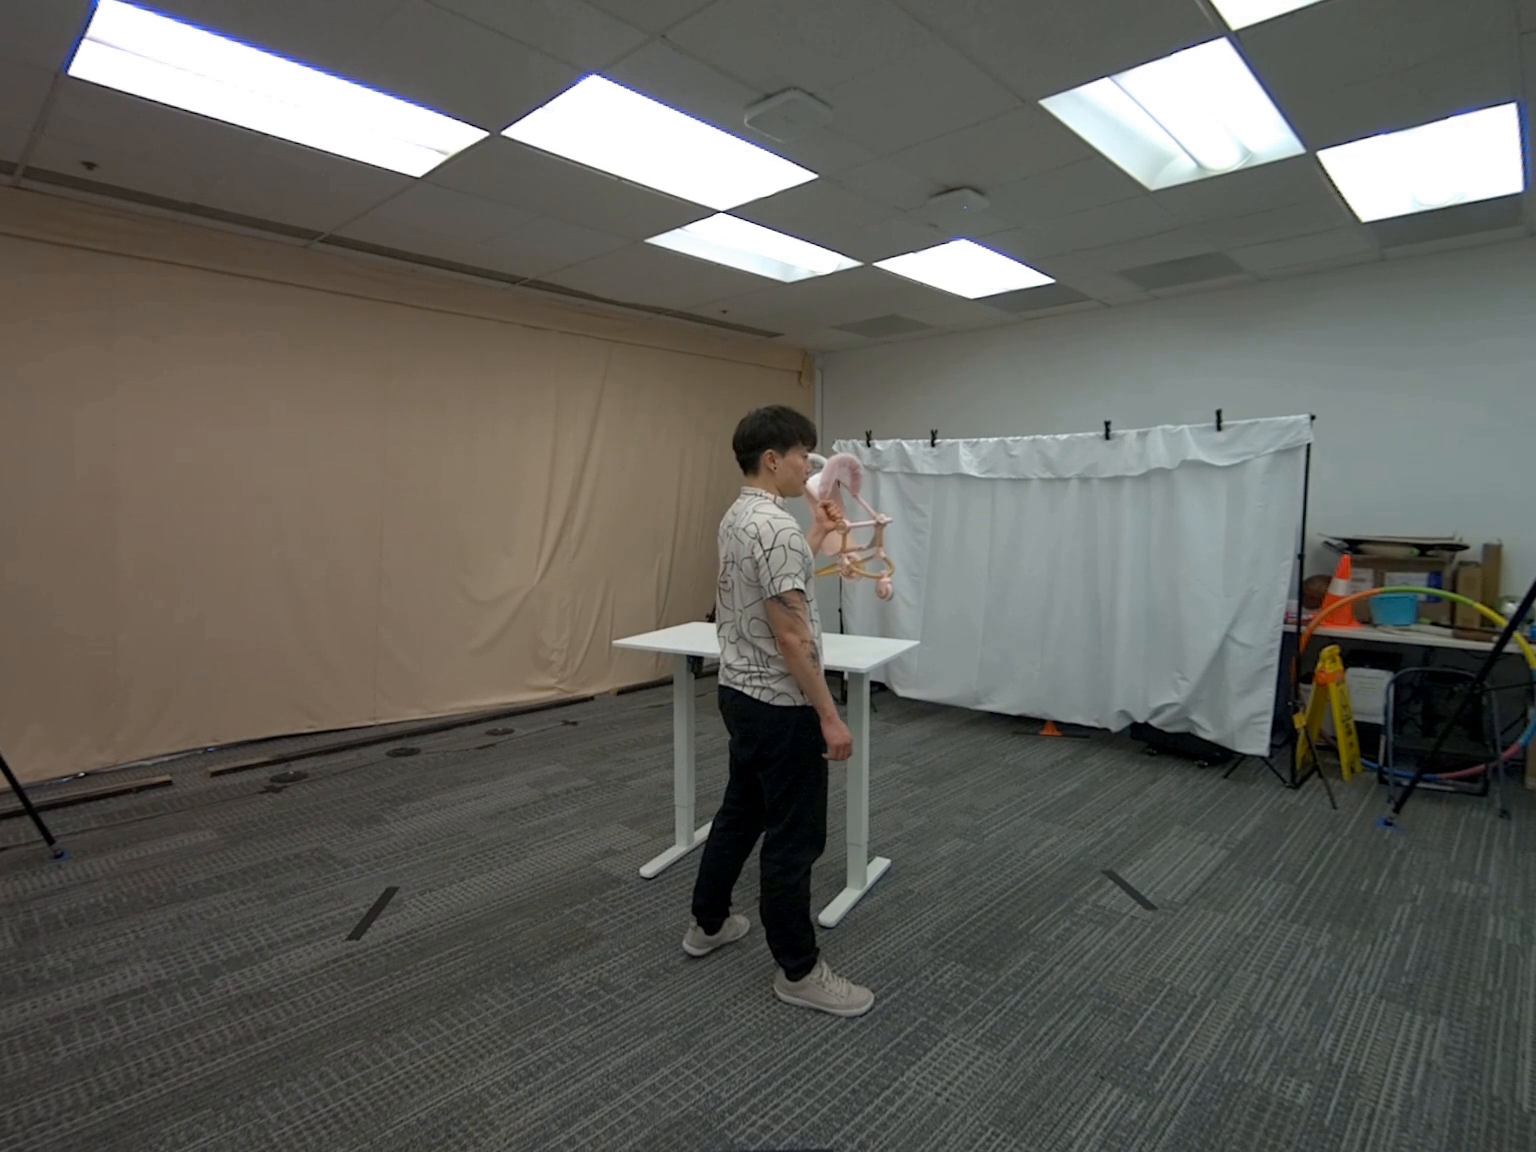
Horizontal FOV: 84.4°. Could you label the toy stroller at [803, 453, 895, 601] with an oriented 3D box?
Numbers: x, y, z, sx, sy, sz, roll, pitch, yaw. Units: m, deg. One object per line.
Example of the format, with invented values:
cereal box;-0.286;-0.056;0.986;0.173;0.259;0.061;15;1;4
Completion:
toy stroller;0.263;-0.171;2.837;0.273;0.535;0.351;-8;0;-38
